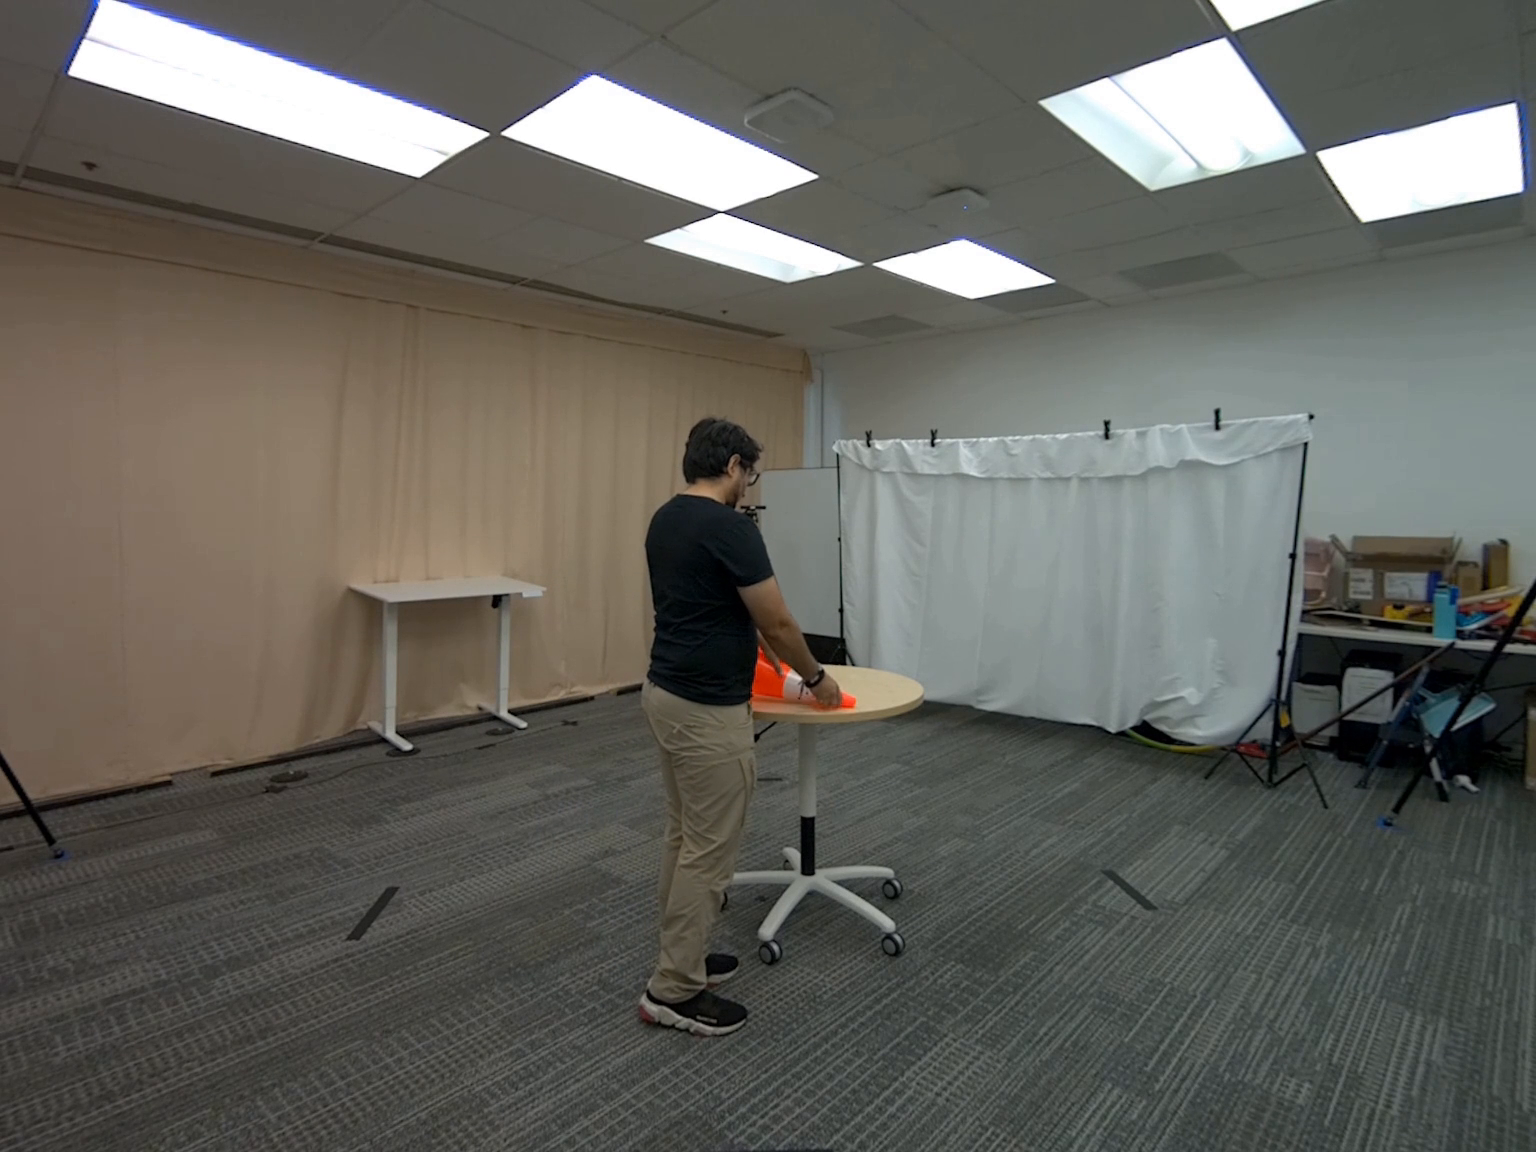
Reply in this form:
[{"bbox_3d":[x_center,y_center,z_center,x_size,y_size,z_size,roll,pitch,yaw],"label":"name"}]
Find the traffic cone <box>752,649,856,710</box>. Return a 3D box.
[{"bbox_3d":[0.097,0.346,2.607,0.394,0.203,0.200,17,9,24],"label":"traffic cone"}]
